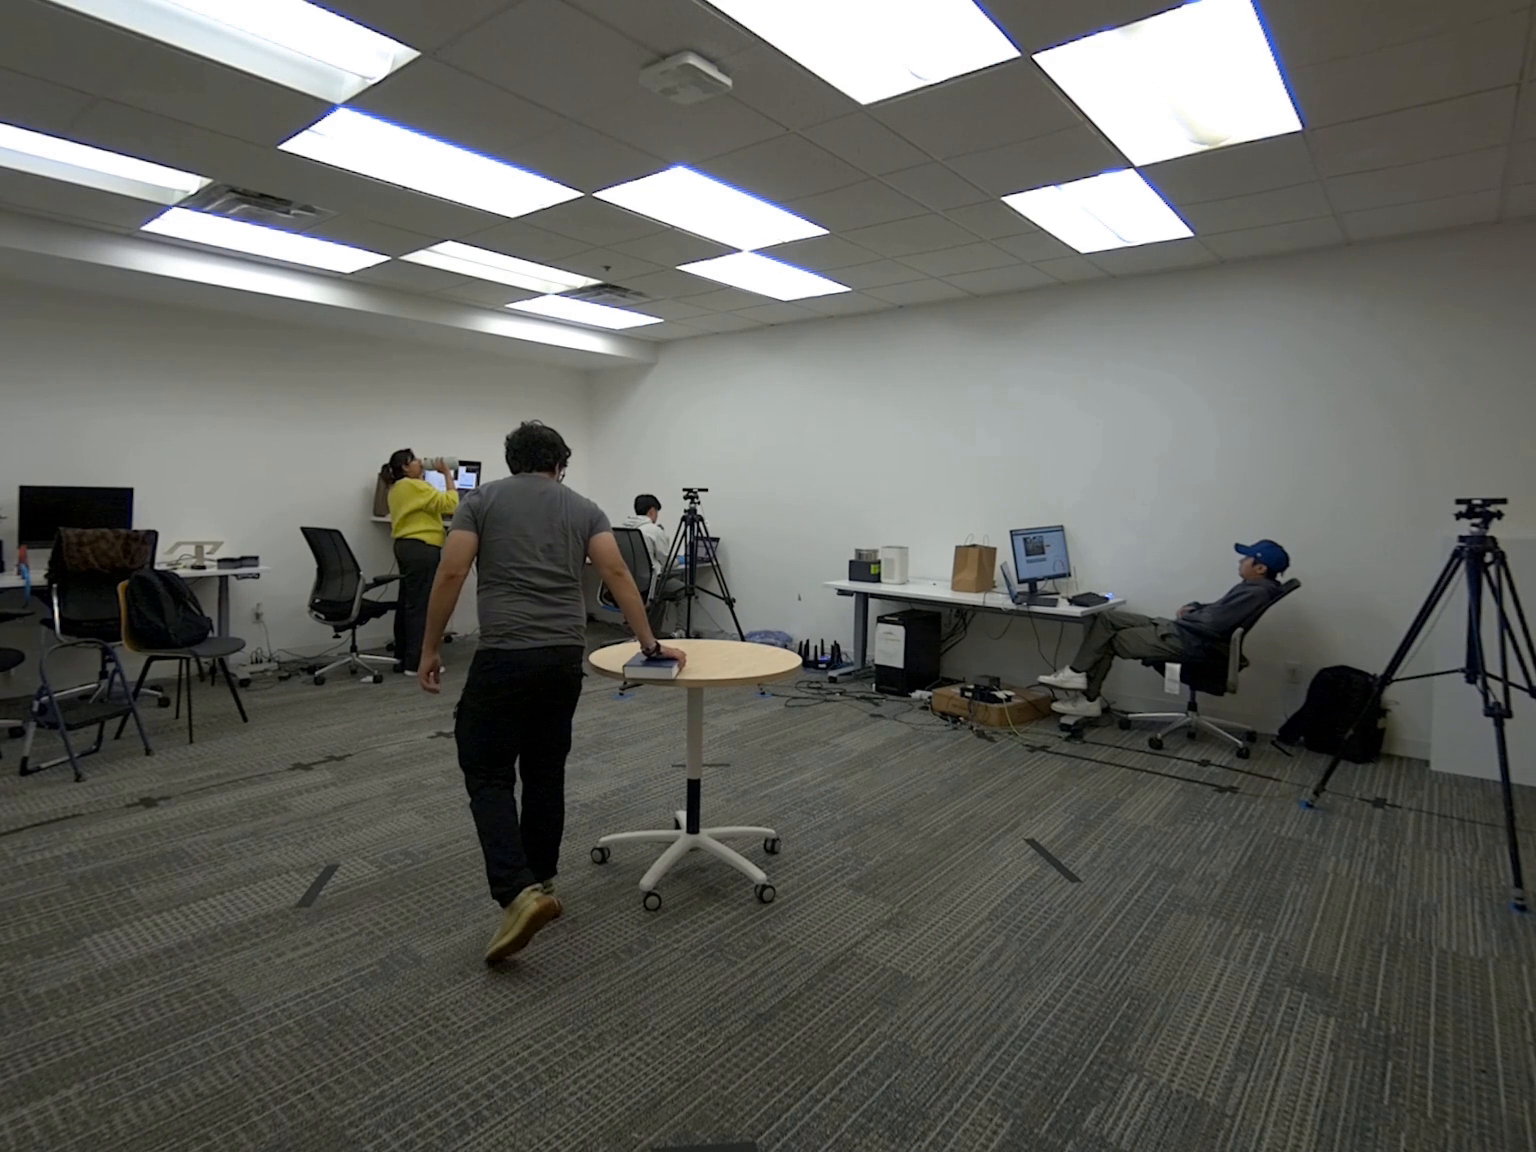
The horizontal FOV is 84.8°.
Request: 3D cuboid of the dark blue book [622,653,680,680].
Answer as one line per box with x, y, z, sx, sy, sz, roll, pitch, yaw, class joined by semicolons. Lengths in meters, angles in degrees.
-0.386;0.295;2.789;0.164;0.045;0.245;2;4;3;dark blue book
